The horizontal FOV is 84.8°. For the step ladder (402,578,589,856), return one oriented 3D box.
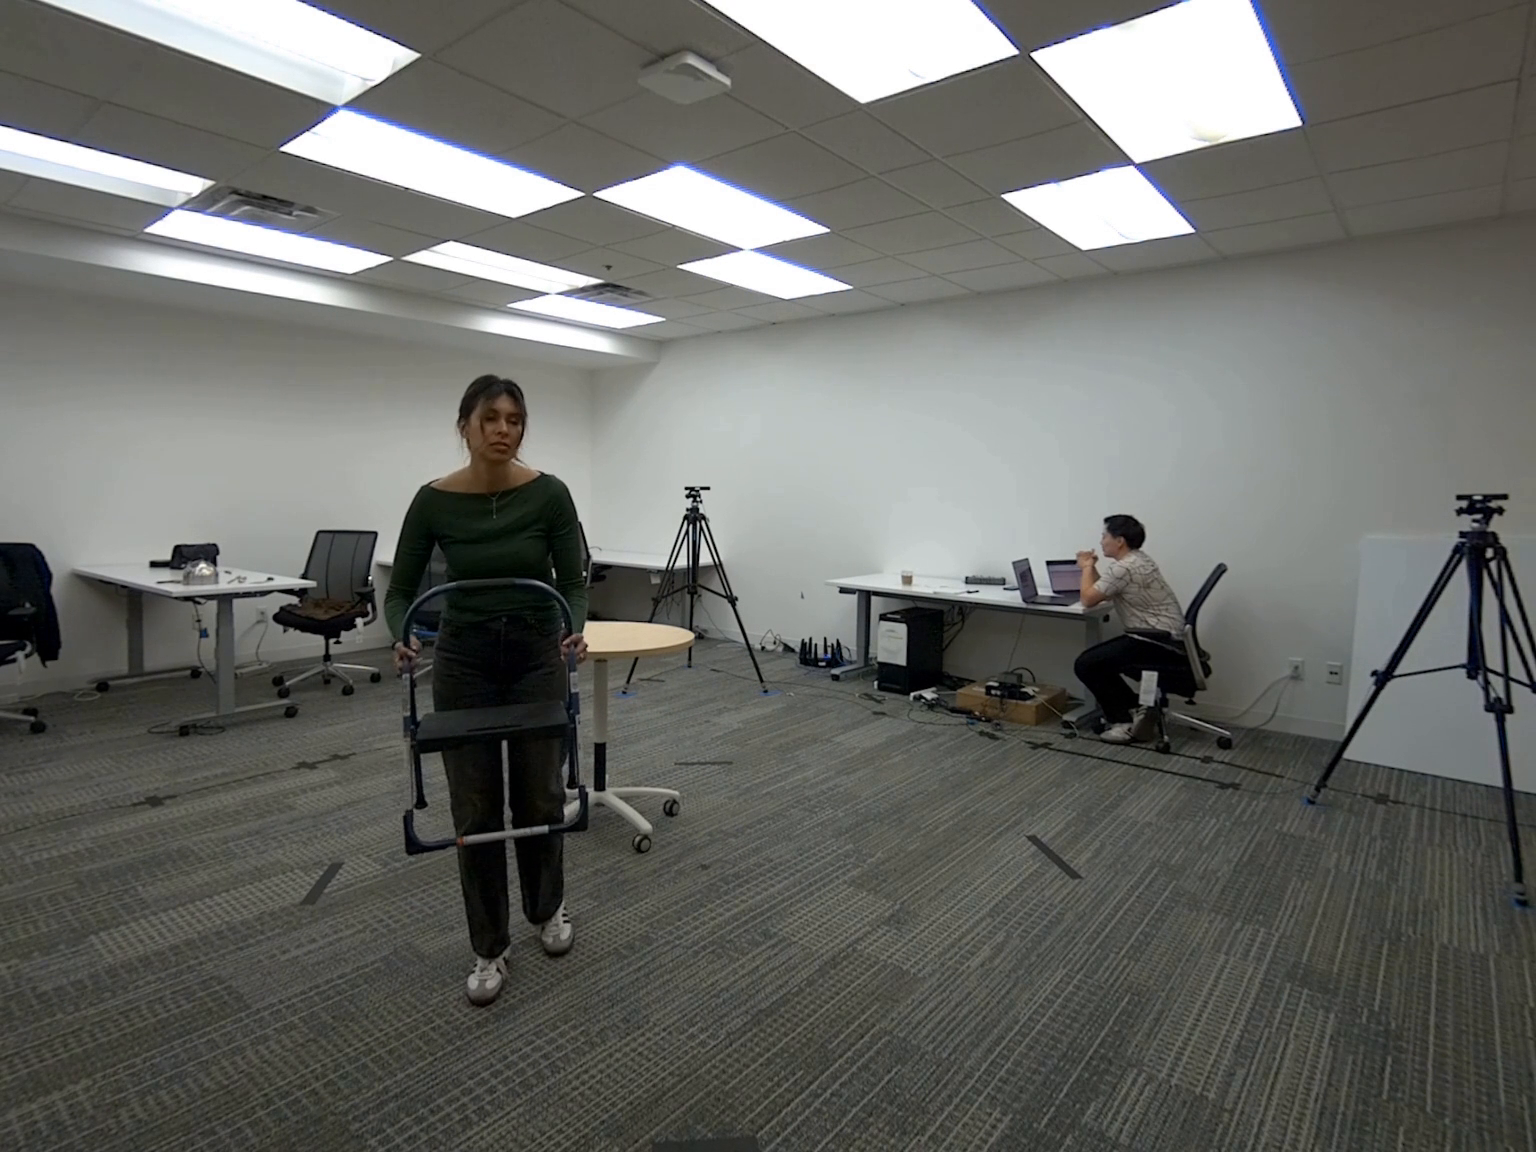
[{"bbox_3d":[-0.700,0.307,2.118,0.424,0.604,0.356,-4,5,-17],"label":"step ladder"}]
